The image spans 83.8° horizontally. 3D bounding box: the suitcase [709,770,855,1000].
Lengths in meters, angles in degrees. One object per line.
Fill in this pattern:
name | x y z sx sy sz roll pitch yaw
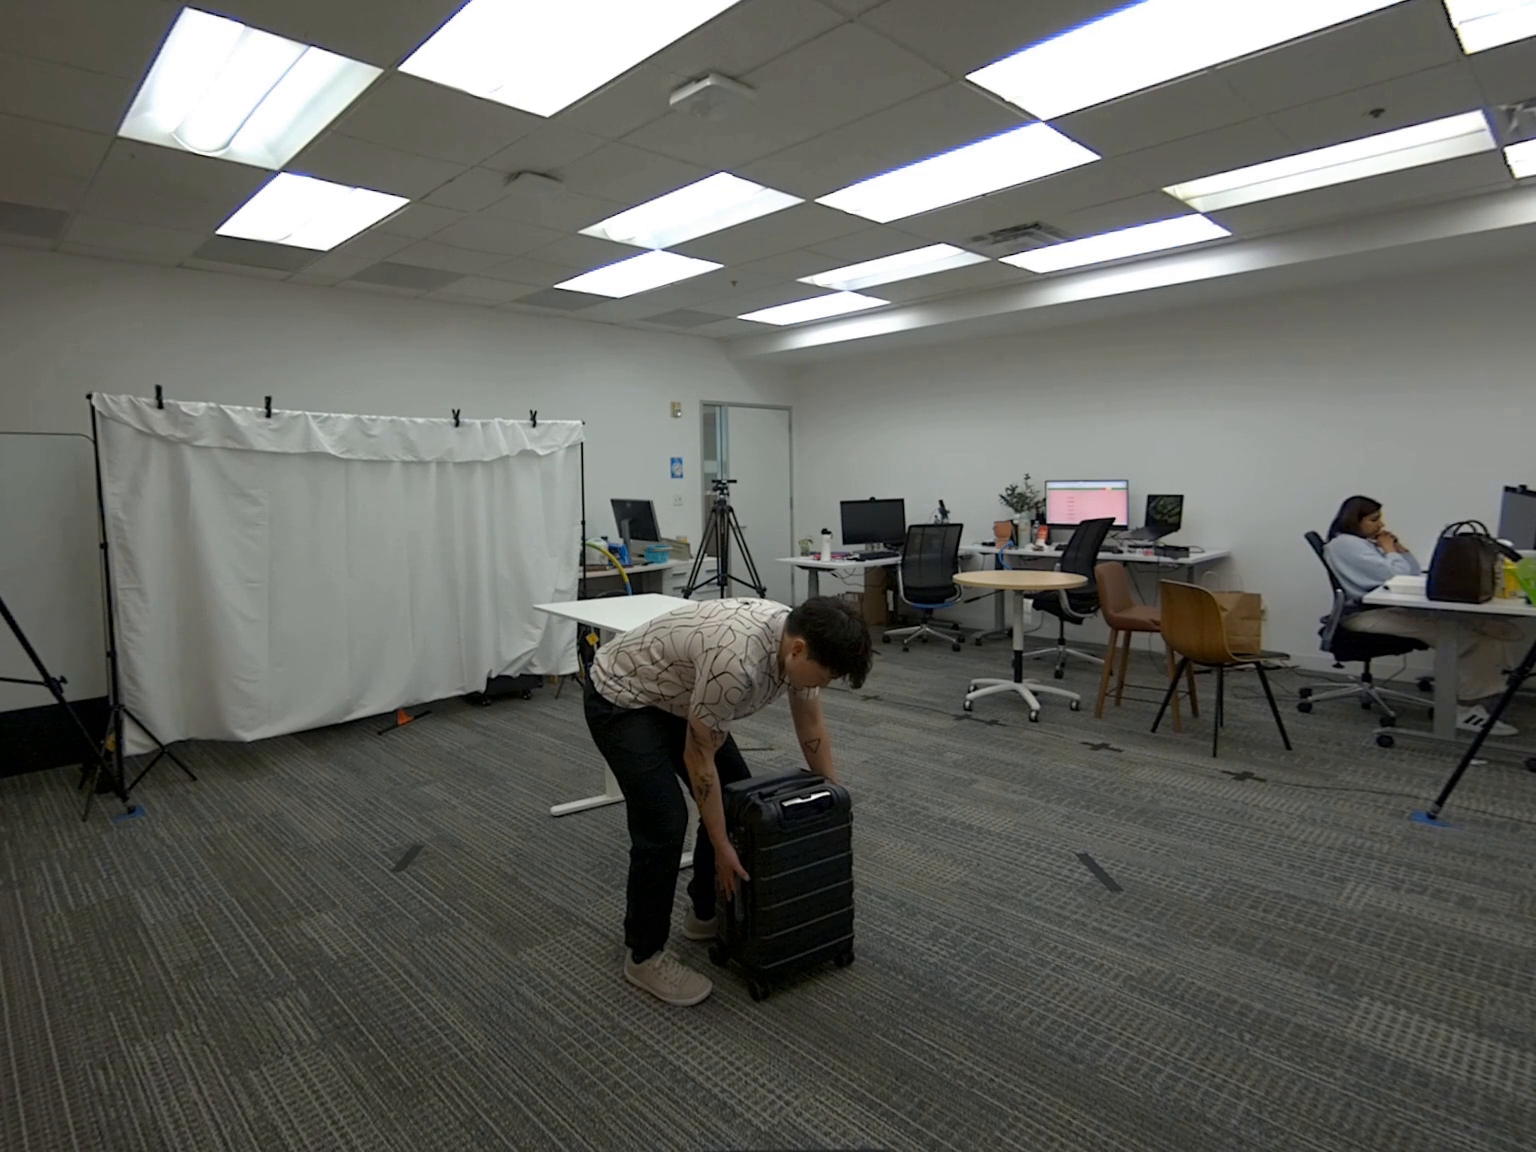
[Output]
suitcase | 0.048 0.845 2.435 0.366 0.547 0.256 -4 5 -35
